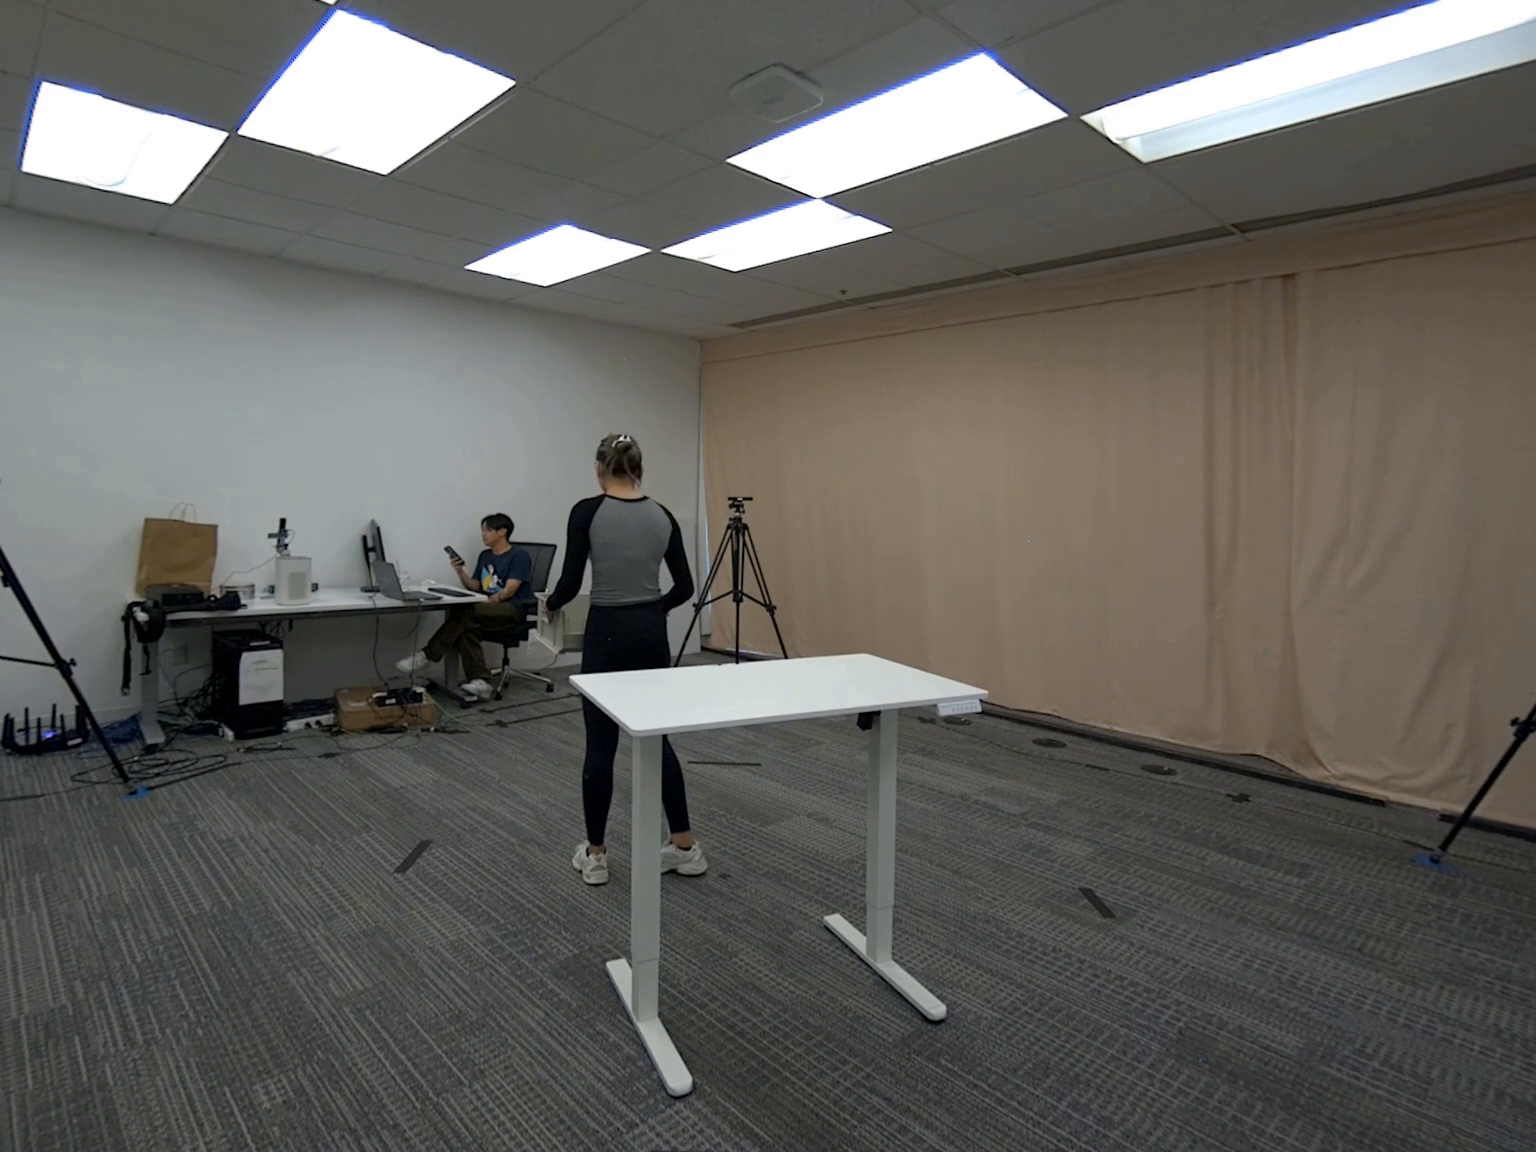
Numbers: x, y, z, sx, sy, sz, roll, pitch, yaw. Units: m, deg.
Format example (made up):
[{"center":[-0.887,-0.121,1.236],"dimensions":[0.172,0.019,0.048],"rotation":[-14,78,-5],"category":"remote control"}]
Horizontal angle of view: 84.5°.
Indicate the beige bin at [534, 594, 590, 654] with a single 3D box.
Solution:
[{"center":[-0.680,0.186,3.362],"dimensions":[0.413,0.188,0.386],"rotation":[1,6,-30],"category":"beige bin"}]
